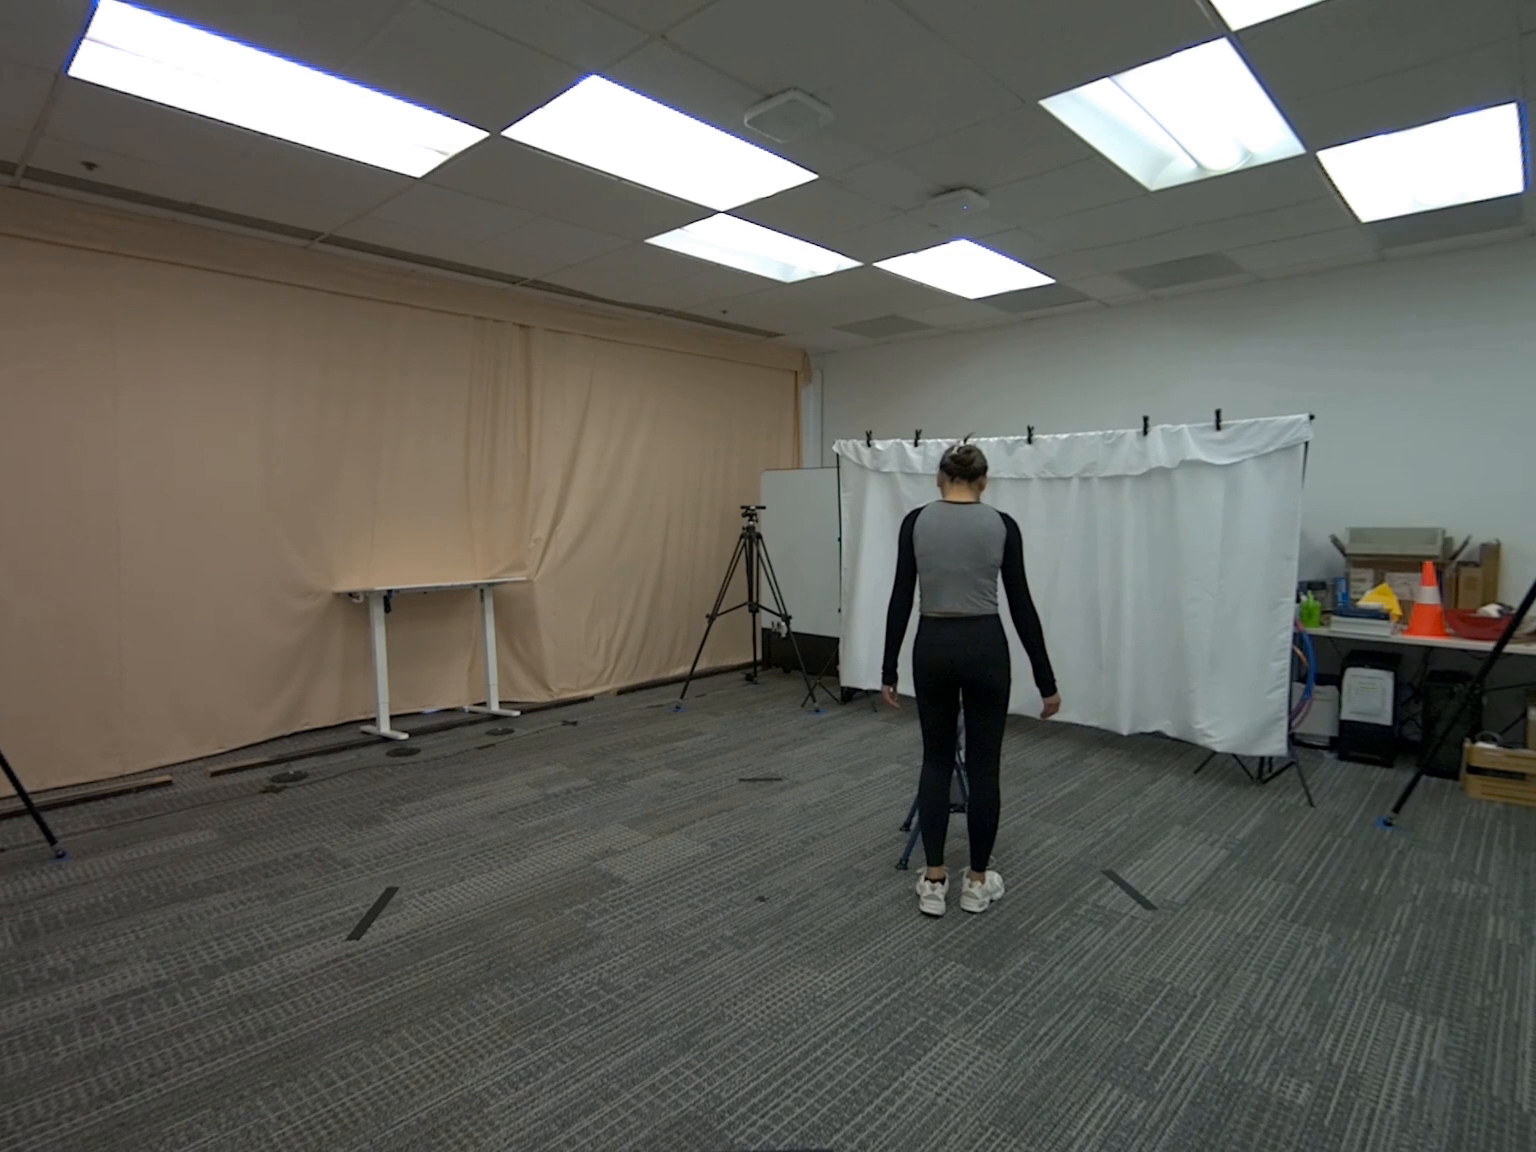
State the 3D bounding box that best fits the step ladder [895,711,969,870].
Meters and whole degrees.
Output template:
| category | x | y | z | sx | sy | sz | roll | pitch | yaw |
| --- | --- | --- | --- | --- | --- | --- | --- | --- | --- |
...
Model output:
| category | x | y | z | sx | sy | sz | roll | pitch | yaw |
| --- | --- | --- | --- | --- | --- | --- | --- | --- | --- |
| step ladder | 0.709 | 0.811 | 3.371 | 0.354 | 0.605 | 0.425 | 0 | 3 | 12 |
